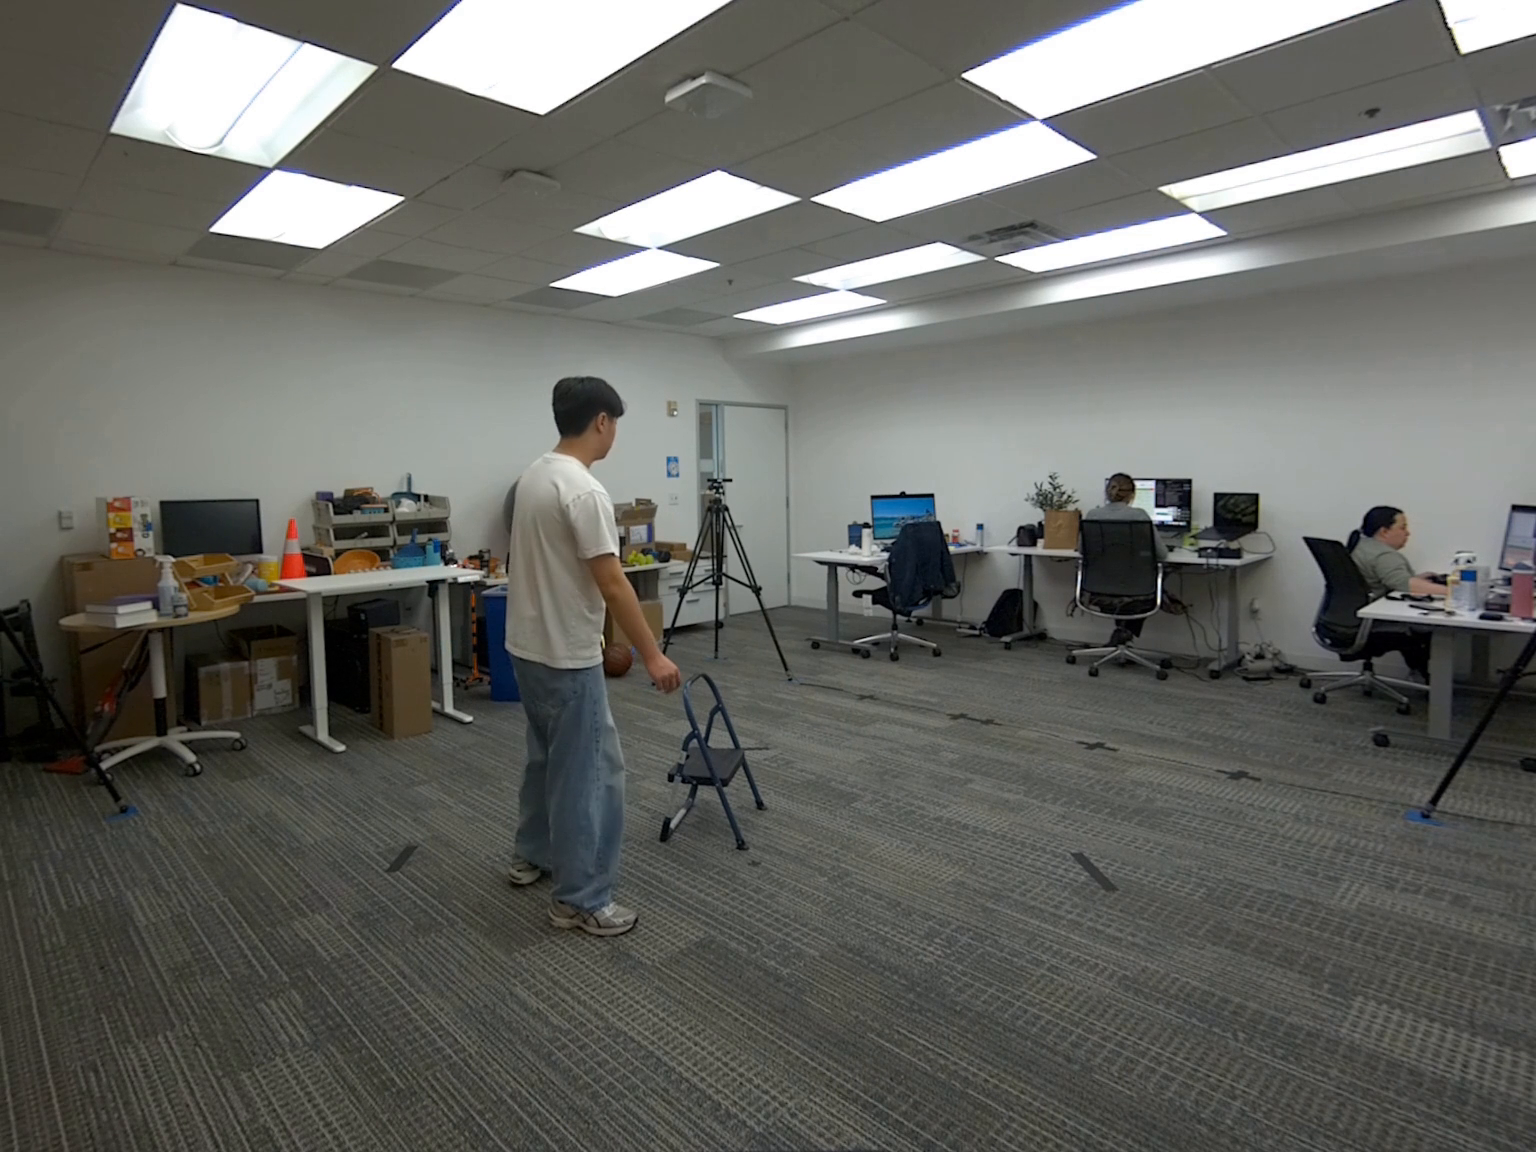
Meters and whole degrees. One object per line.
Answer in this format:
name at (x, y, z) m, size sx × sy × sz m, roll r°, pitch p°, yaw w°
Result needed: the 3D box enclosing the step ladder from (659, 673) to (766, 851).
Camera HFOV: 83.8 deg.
step ladder at (-0.221, 0.706, 3.446) m, size 0.353 × 0.604 × 0.427 m, roll 0°, pitch 4°, yaw 11°
